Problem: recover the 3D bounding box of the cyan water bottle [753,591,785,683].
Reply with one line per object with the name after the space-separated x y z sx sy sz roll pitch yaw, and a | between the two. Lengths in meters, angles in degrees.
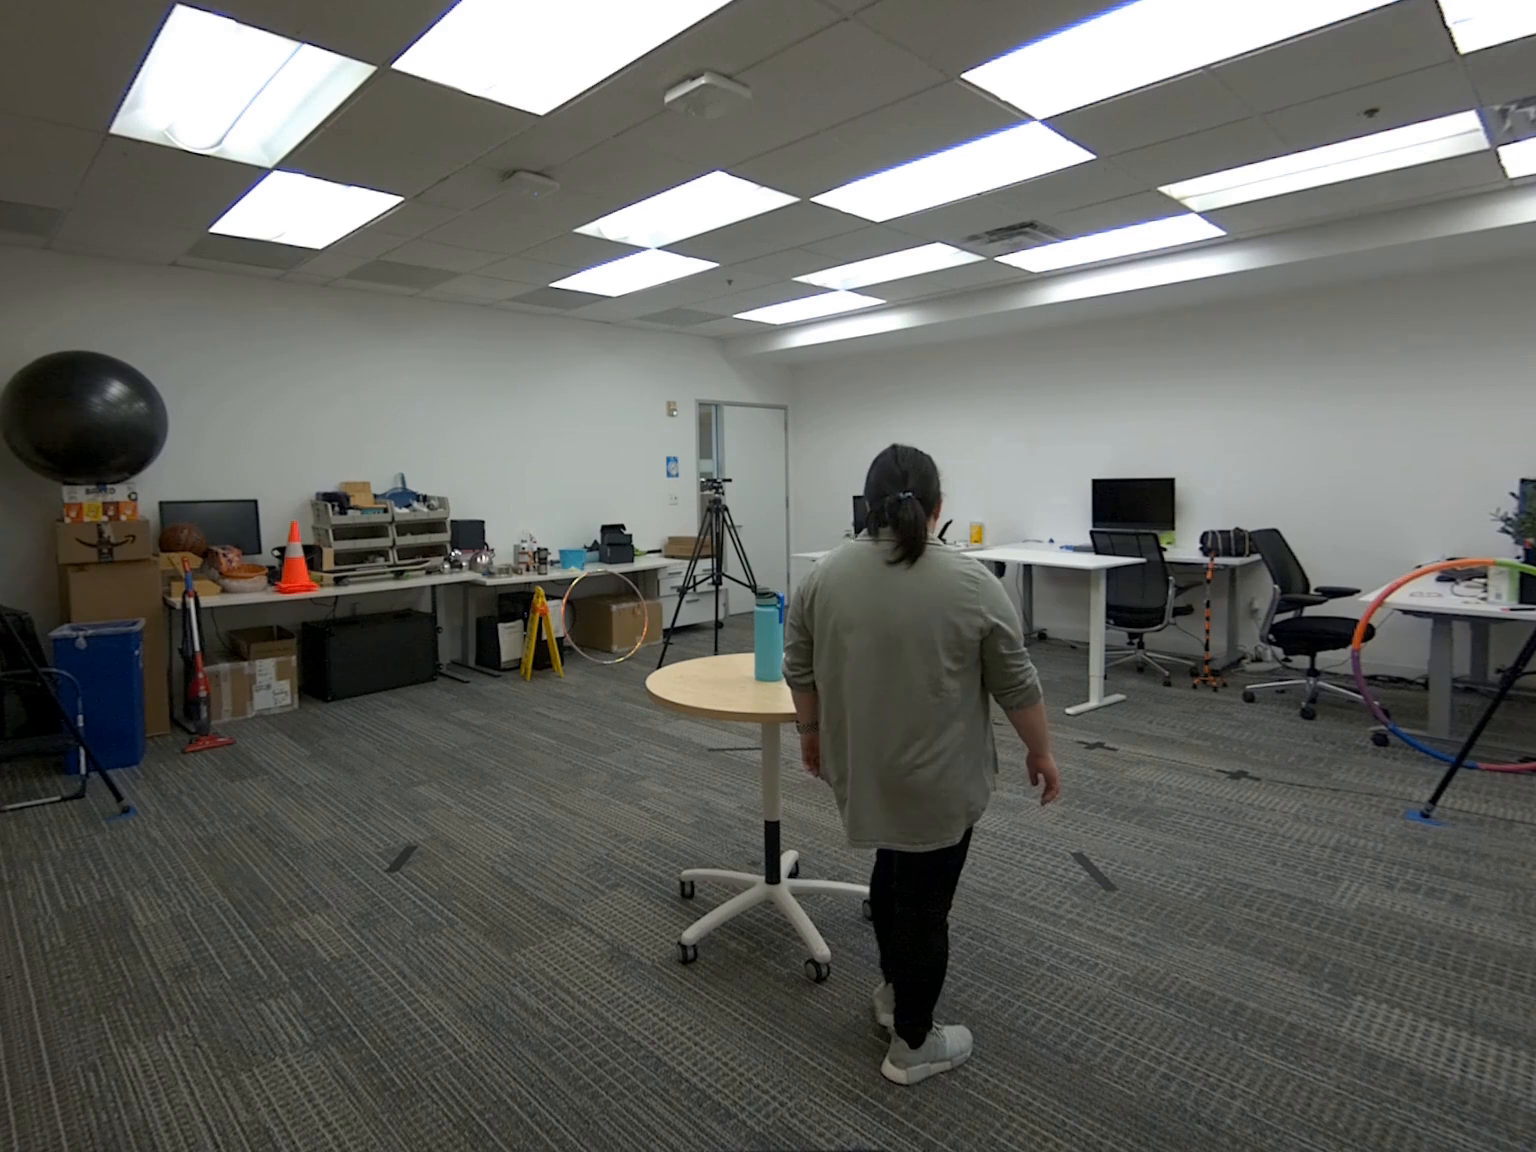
0.007 0.177 2.614 0.092 0.283 0.092 0 2 -2 | cyan water bottle
